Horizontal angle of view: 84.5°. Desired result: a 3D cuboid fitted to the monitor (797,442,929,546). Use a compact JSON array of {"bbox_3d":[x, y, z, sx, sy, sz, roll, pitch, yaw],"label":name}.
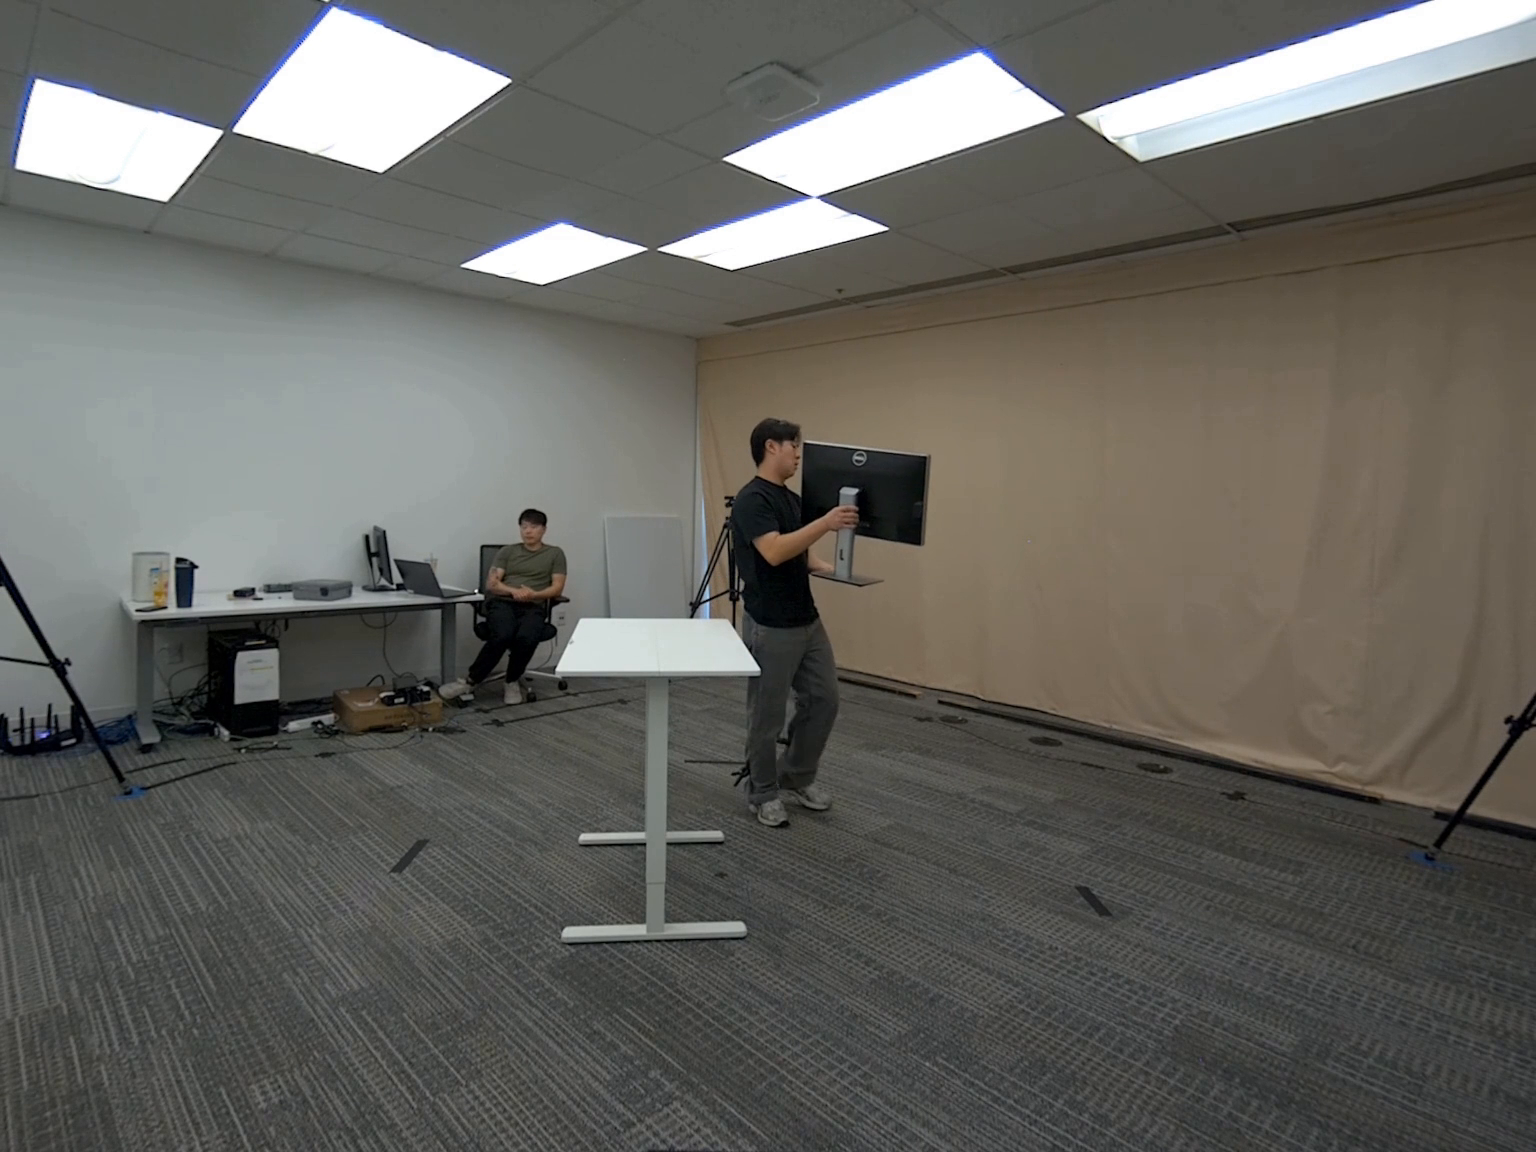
[{"bbox_3d":[0.345,-0.238,3.392,0.577,0.564,0.217,13,5,37],"label":"monitor"}]
